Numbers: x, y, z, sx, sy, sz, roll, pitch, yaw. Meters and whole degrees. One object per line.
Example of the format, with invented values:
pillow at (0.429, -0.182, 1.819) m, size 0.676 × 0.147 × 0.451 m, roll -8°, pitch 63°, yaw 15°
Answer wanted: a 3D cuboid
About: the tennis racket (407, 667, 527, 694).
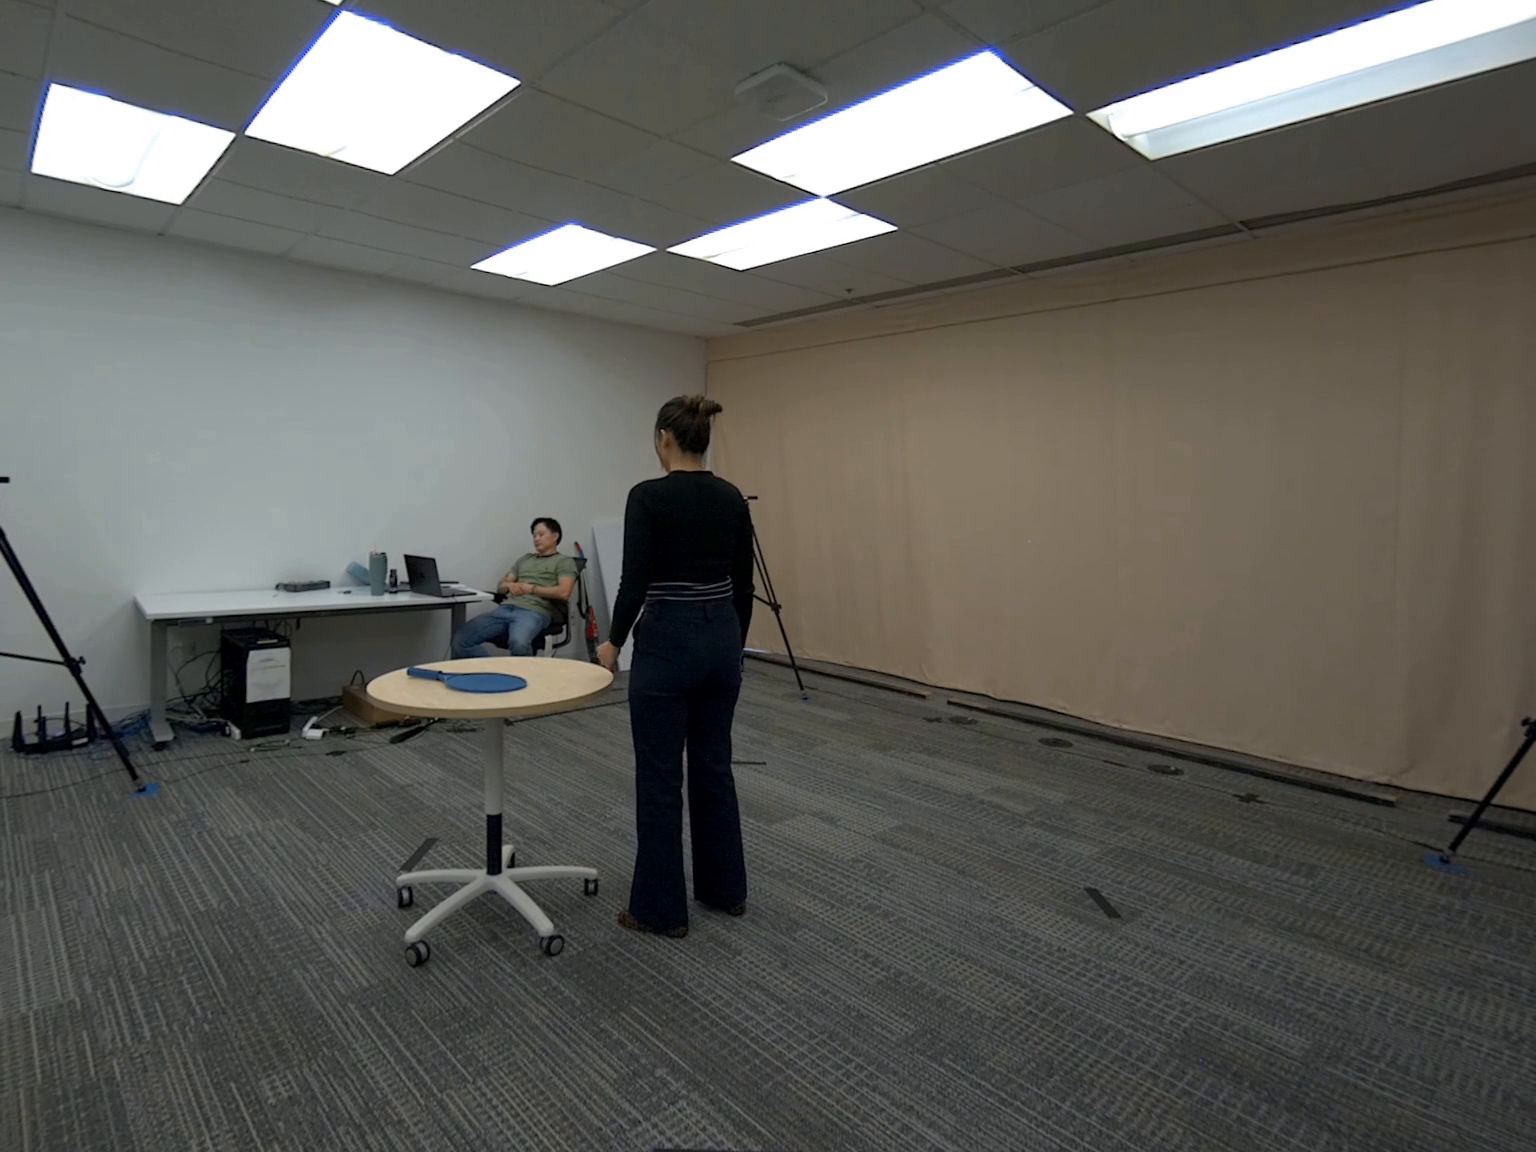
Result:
tennis racket at (-0.979, 0.333, 2.675) m, size 0.439 × 0.031 × 0.211 m, roll 4°, pitch 5°, yaw 18°
